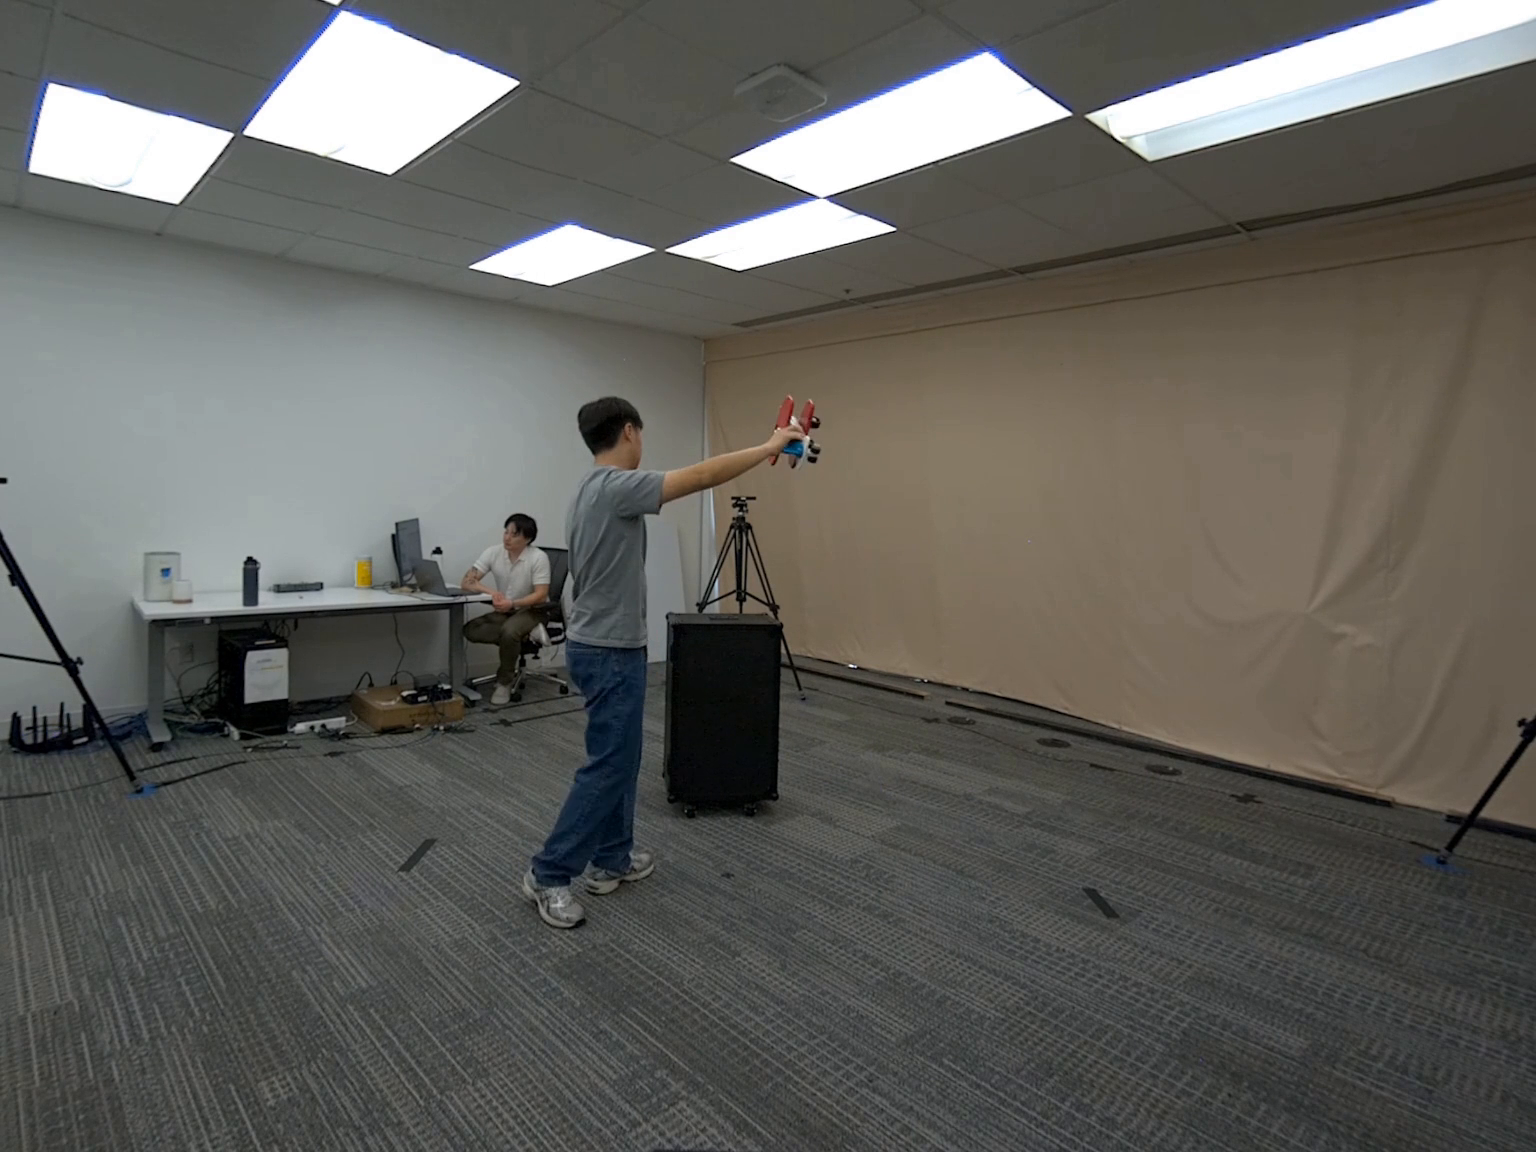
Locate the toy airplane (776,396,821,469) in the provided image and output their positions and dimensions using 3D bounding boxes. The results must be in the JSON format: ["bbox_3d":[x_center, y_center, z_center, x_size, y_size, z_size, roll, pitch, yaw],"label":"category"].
[{"bbox_3d":[0.087,-0.501,2.920,0.155,0.251,0.261,13,3,-7],"label":"toy airplane"}]
